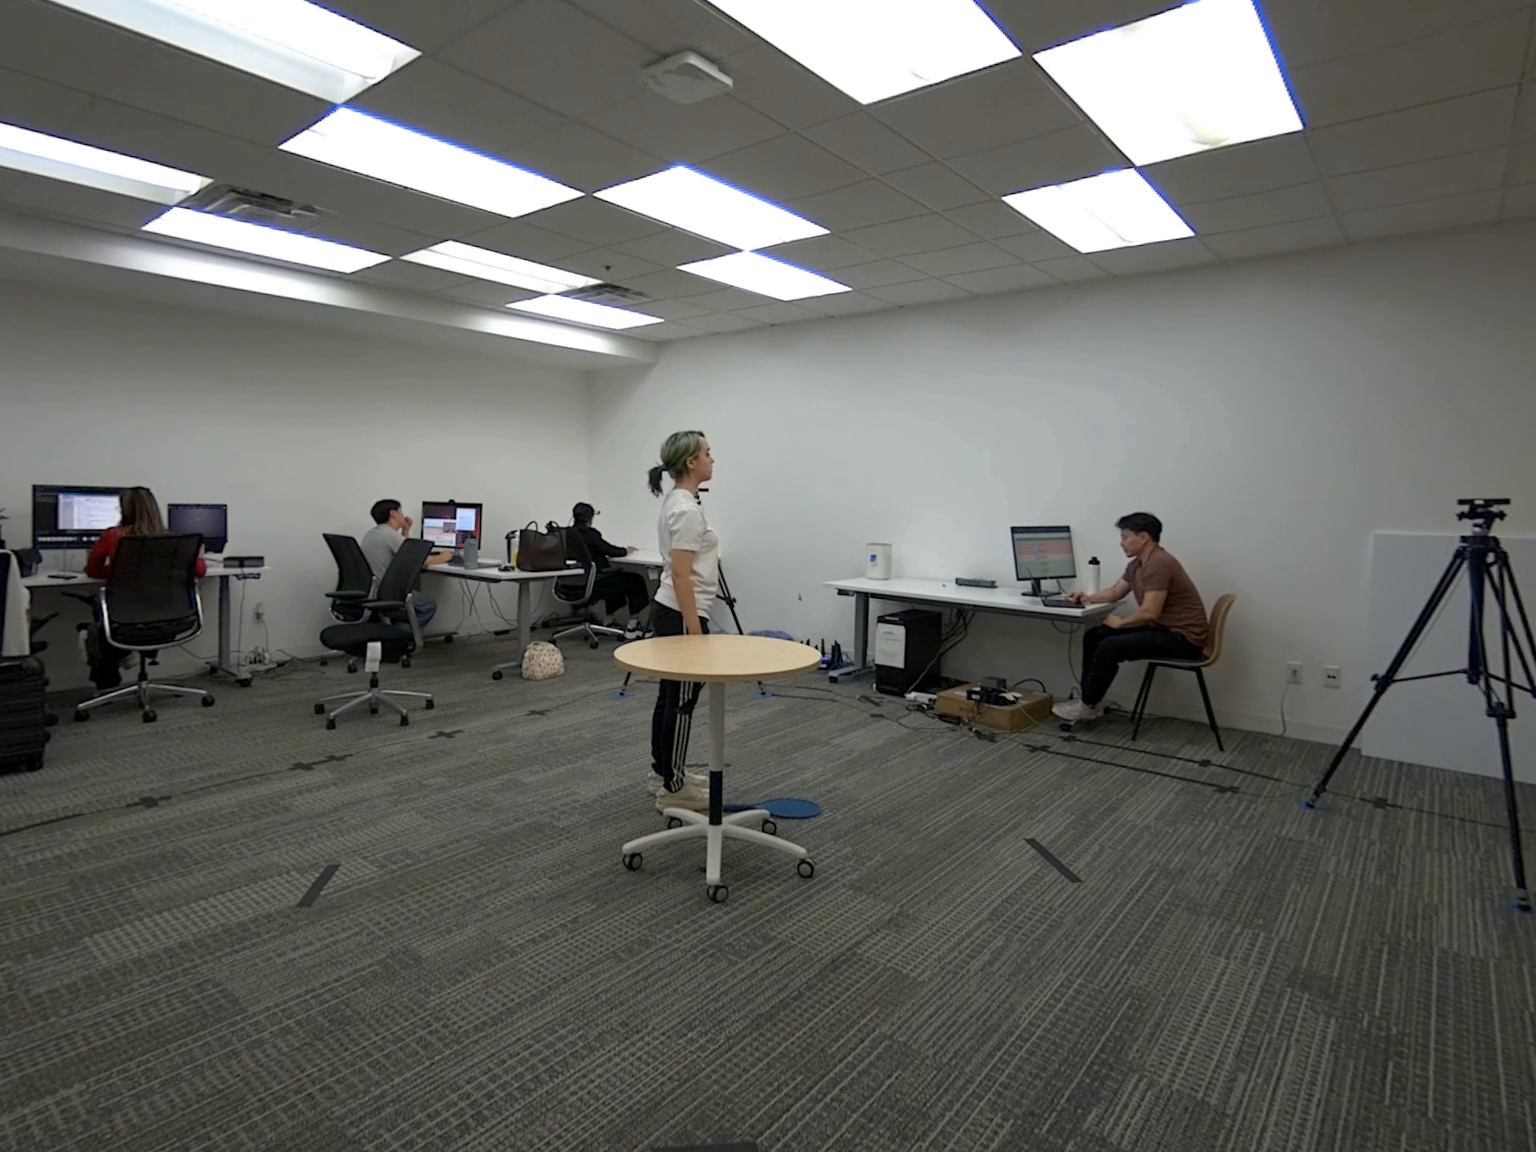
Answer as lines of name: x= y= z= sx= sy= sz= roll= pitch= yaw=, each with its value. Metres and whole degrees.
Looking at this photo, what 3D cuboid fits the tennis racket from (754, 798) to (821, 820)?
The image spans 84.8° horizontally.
tennis racket: x=0.010 y=1.003 z=3.697 sx=0.431 sy=0.031 sz=0.216 roll=2 pitch=6 yaw=-5
